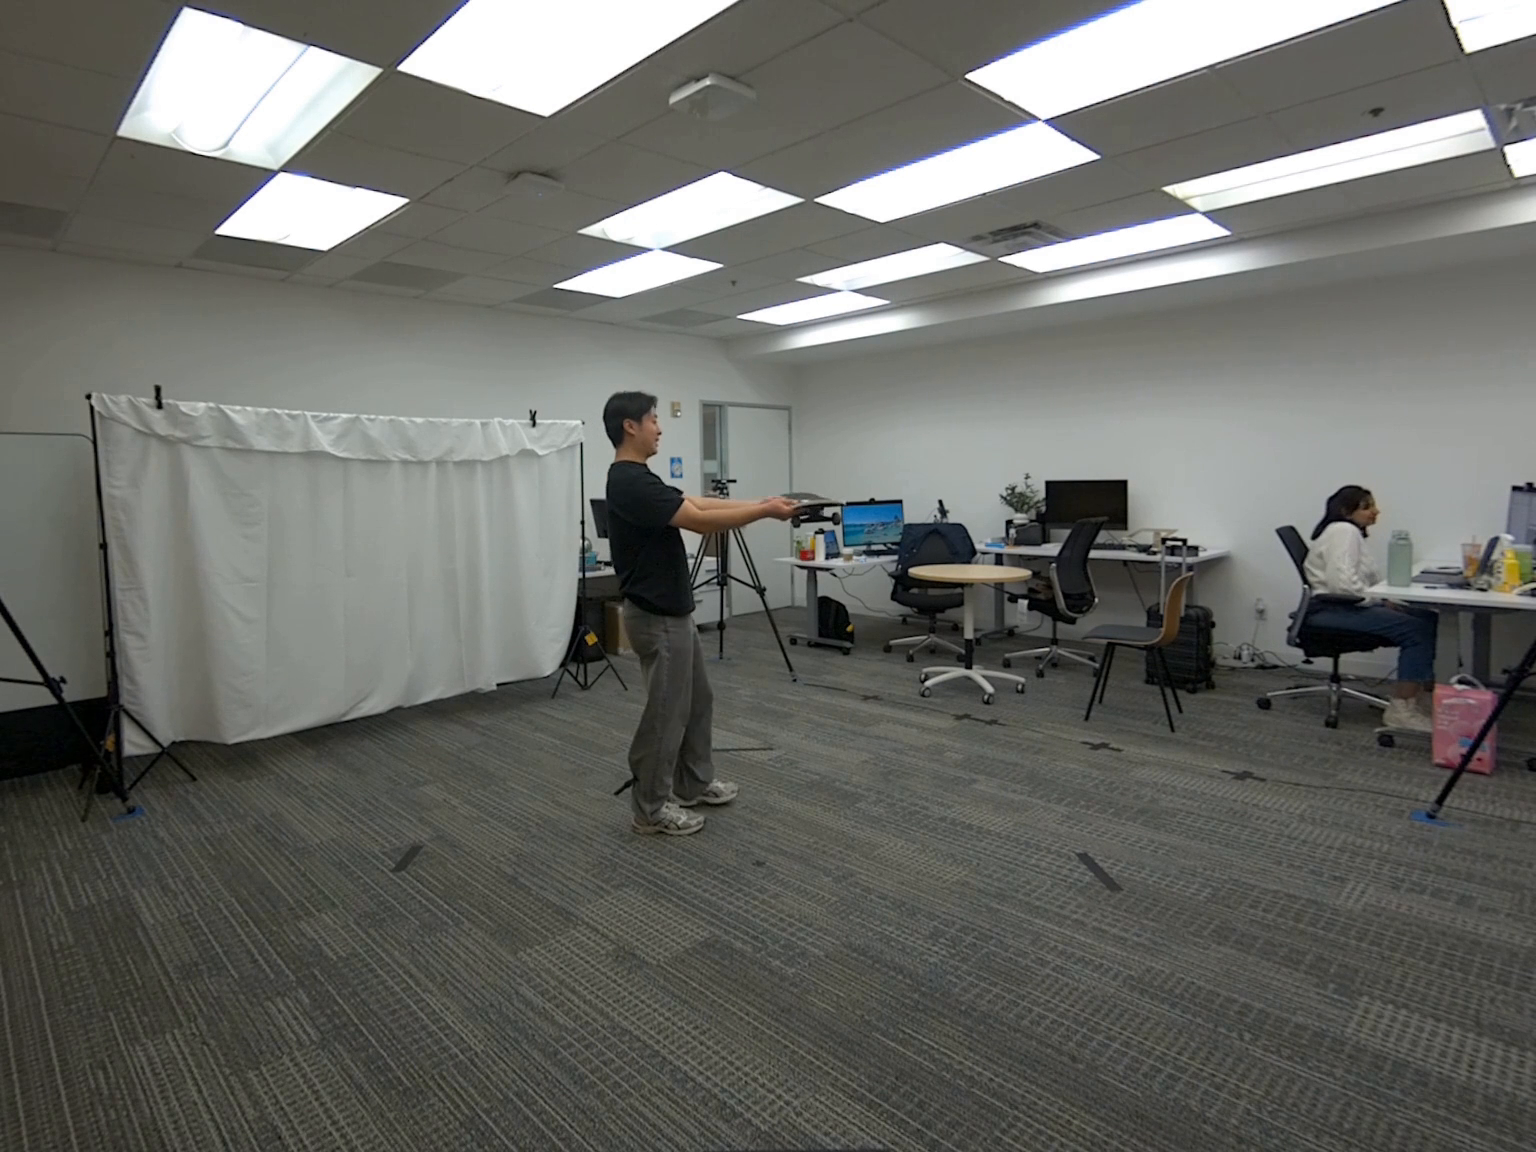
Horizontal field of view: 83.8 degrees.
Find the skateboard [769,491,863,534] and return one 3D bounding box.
[{"bbox_3d":[0.169,-0.264,3.403,0.192,0.109,0.796,-4,8,-9],"label":"skateboard"}]
